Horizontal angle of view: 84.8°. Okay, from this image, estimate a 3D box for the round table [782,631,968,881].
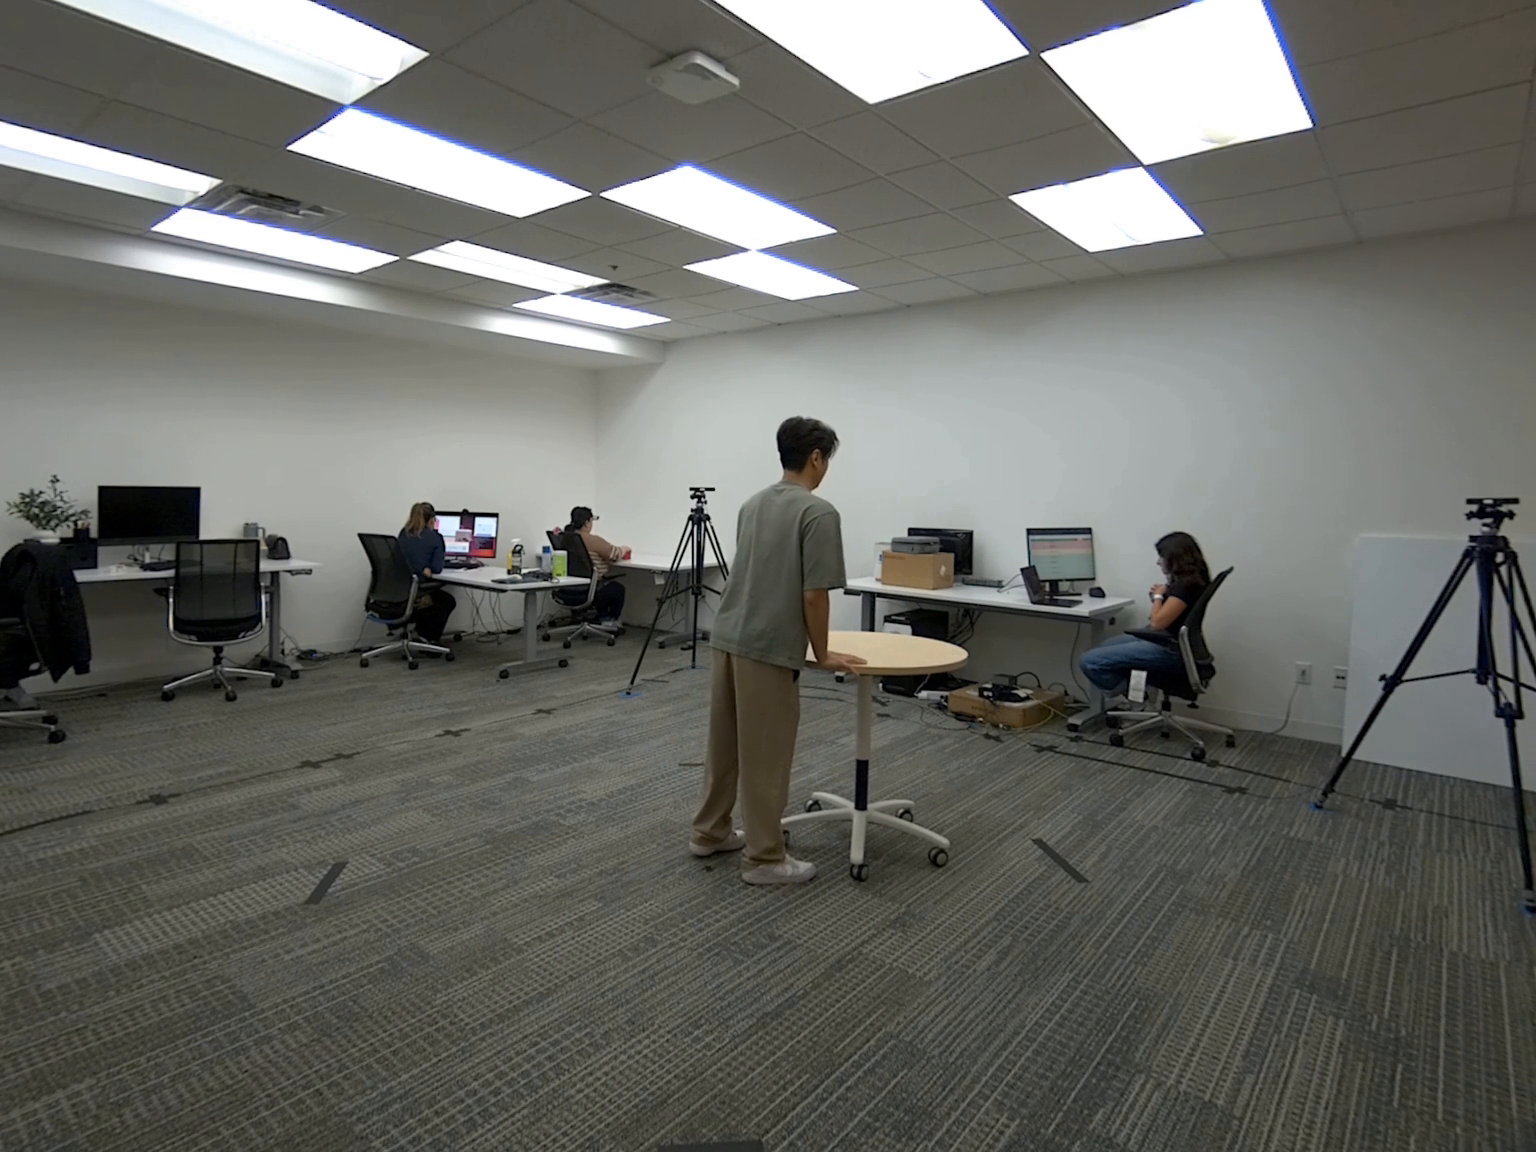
[{"bbox_3d":[0.379,0.665,3.331,0.784,0.784,0.789,1,4,-2],"label":"round table"}]
